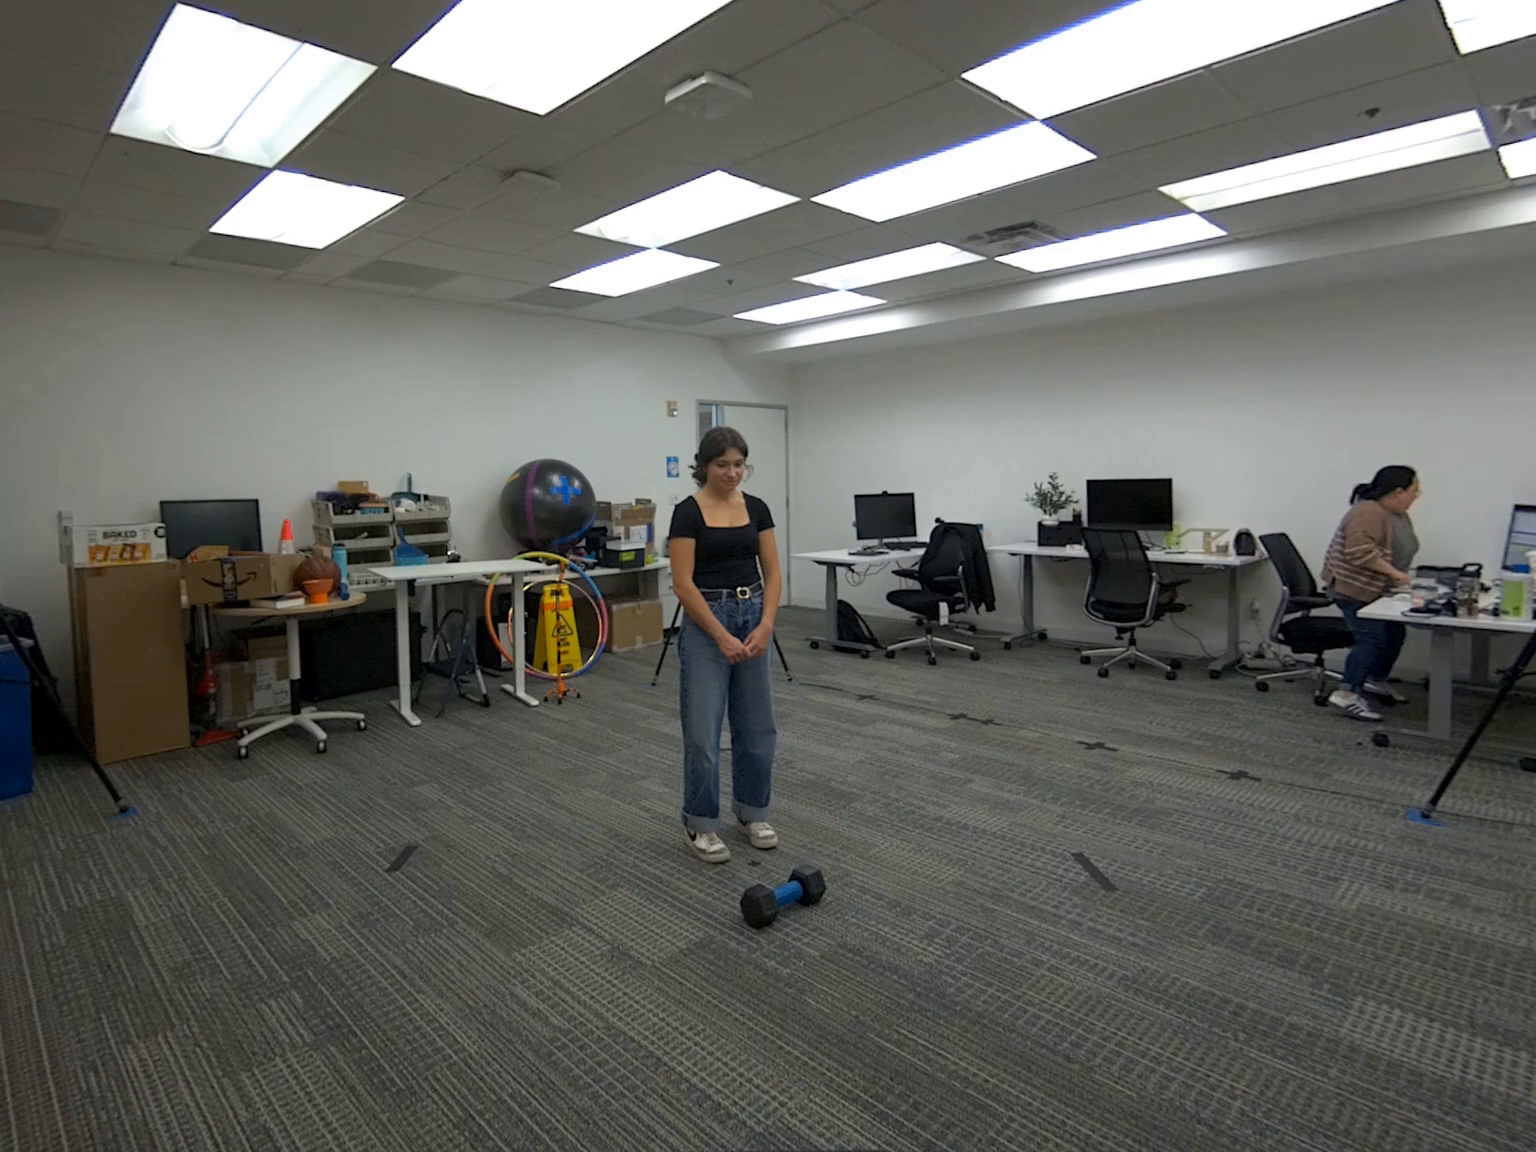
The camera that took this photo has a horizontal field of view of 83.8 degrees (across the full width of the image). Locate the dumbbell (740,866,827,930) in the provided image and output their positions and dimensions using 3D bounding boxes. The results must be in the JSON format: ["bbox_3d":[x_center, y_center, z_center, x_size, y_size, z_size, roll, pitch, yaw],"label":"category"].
[{"bbox_3d":[0.054,1.031,2.754,0.286,0.121,0.113,-6,38,-40],"label":"dumbbell"}]
